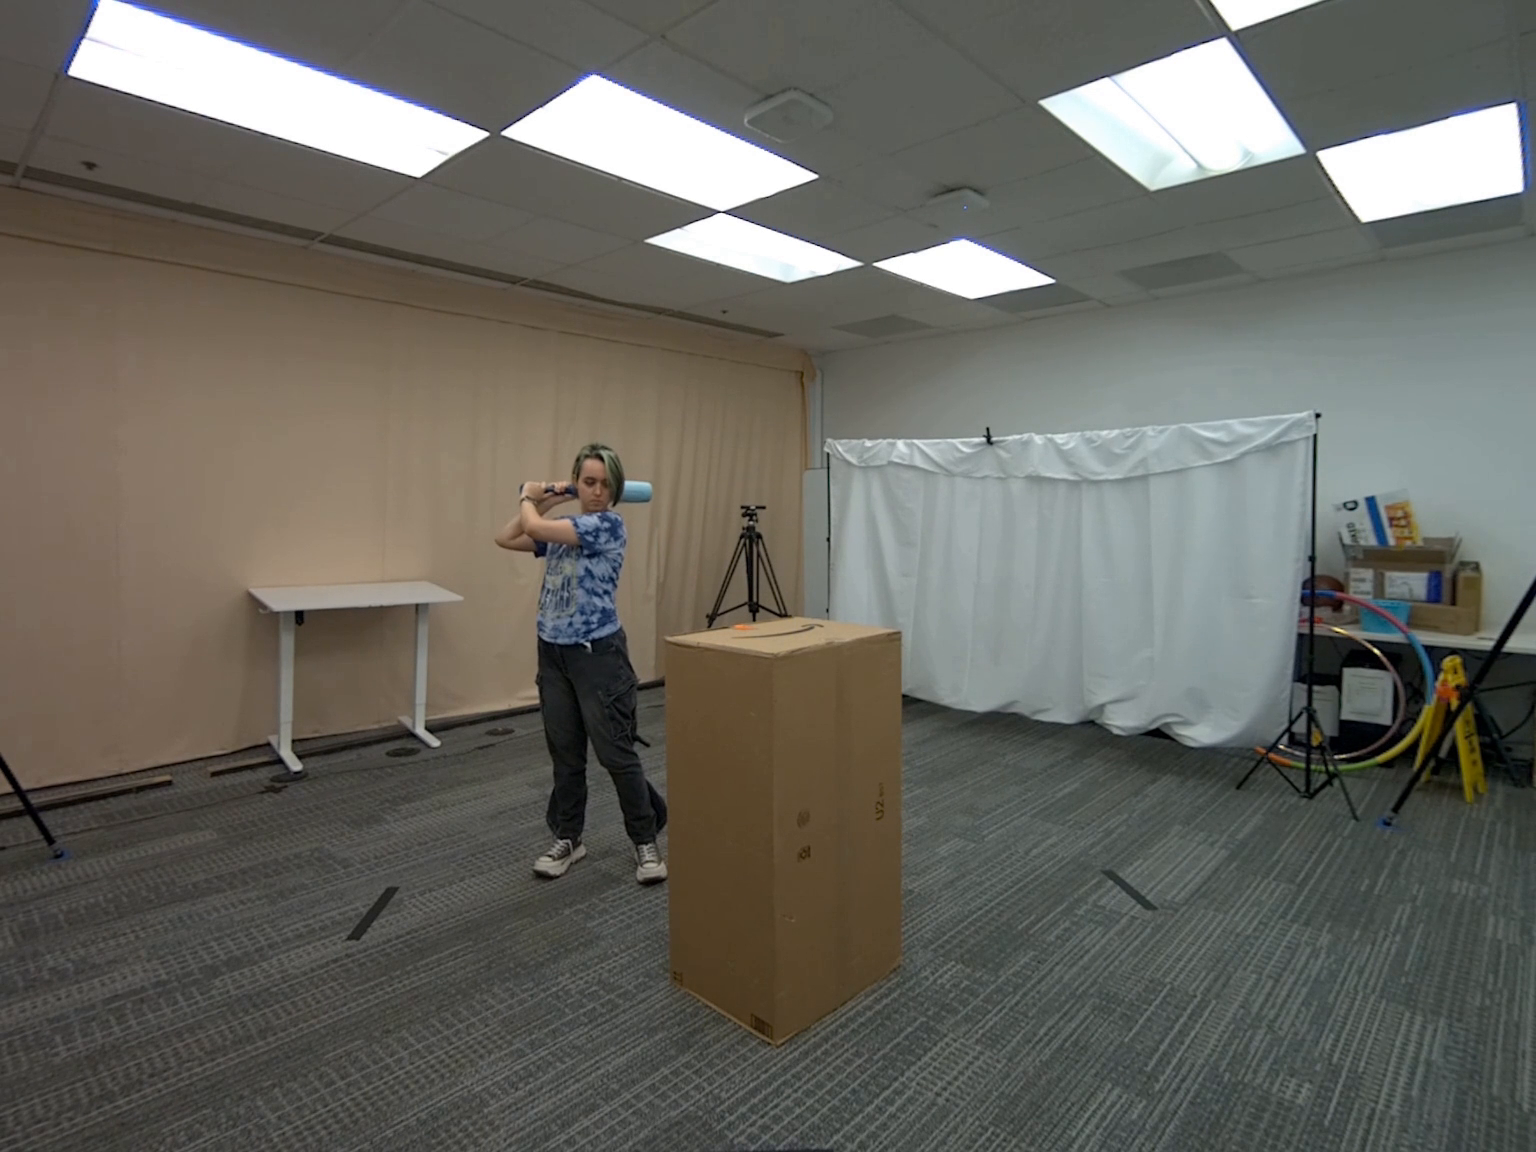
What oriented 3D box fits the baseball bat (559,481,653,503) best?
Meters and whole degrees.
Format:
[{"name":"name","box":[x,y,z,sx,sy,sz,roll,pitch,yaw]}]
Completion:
[{"name":"baseball bat","box":[-0.717,-0.338,3.363,0.528,0.089,0.091,-2,4,-30]}]
